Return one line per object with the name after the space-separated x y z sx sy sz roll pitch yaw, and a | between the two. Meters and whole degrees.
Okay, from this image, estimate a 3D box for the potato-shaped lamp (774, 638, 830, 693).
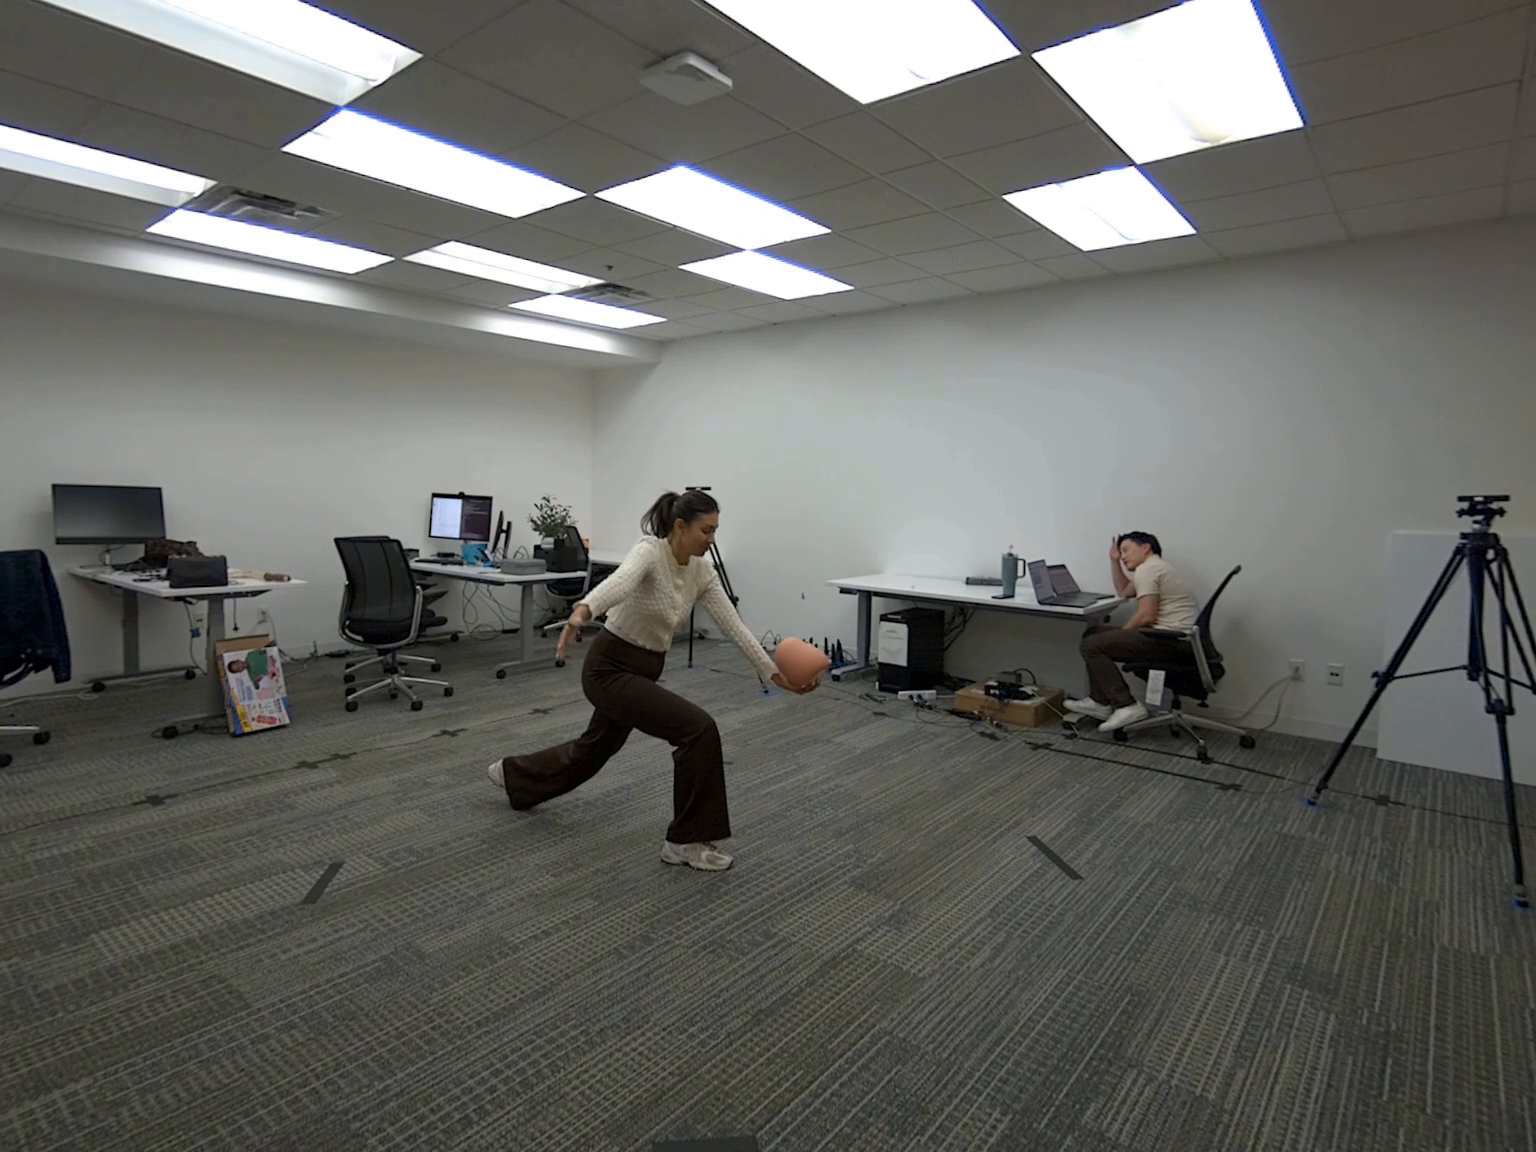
0.110 0.330 3.265 0.169 0.162 0.204 -26 62 -39 | potato-shaped lamp
